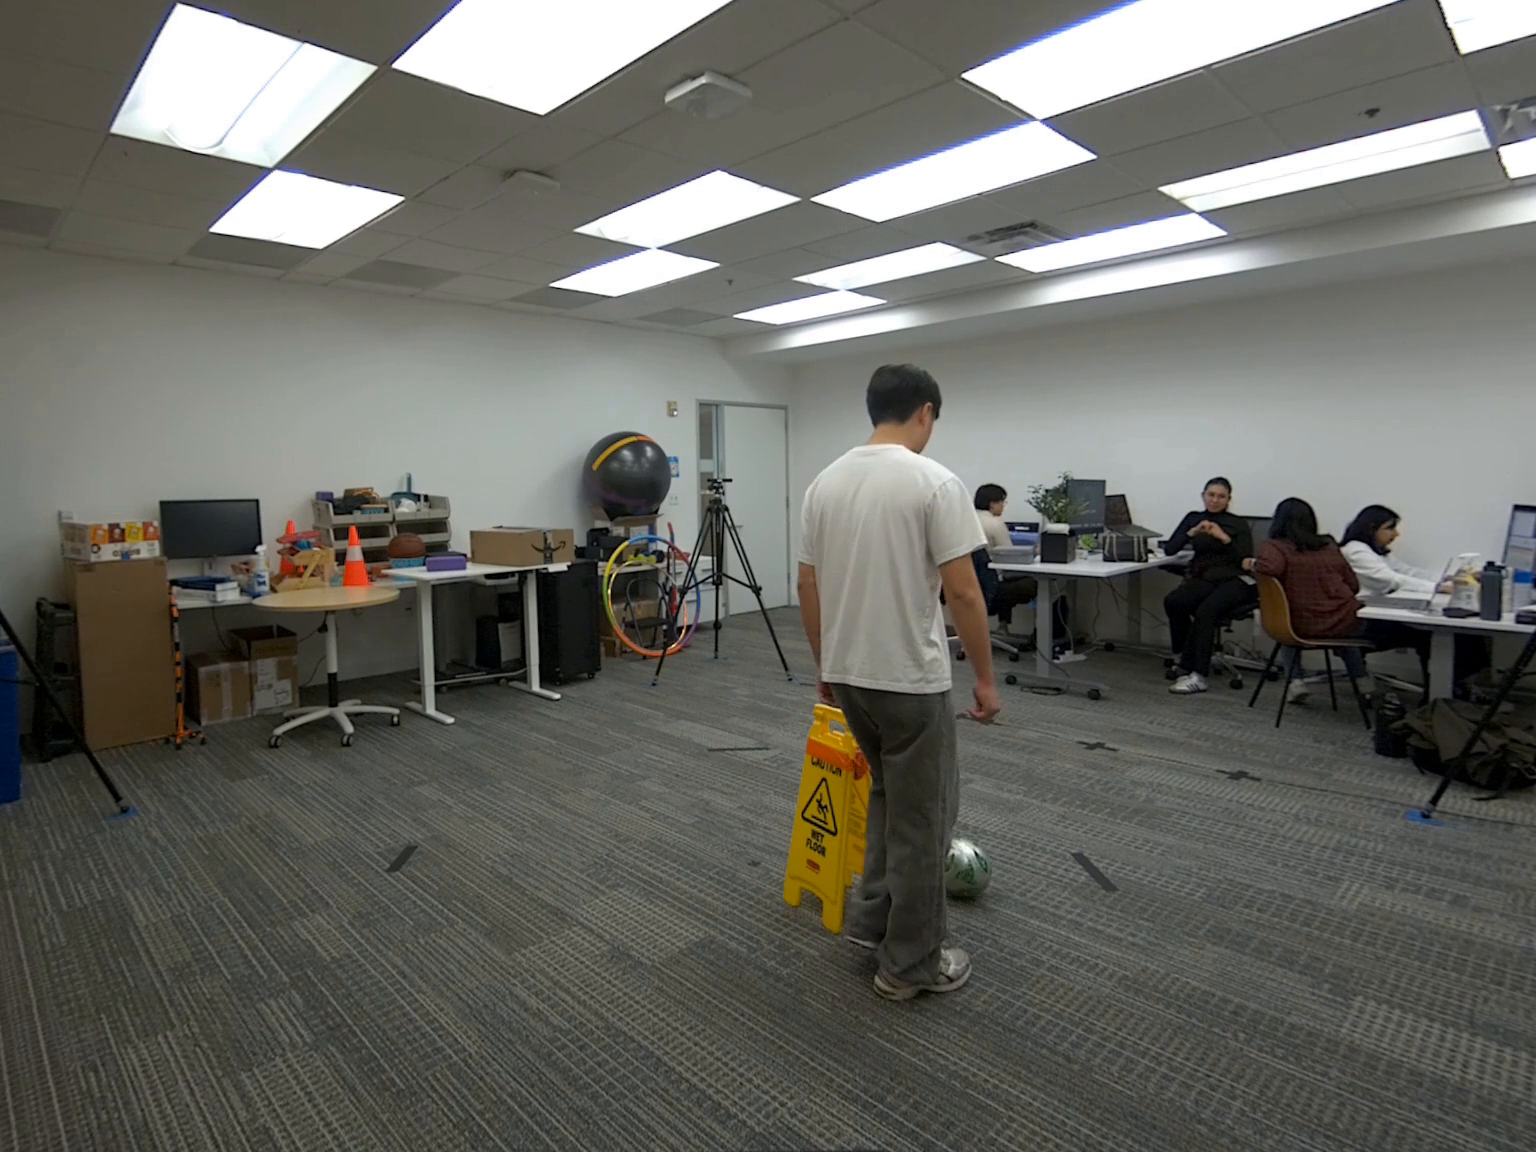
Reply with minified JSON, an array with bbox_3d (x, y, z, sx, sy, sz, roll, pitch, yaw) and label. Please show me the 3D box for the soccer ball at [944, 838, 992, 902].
[{"bbox_3d":[0.643,0.967,2.837,0.187,0.187,0.188,-1,5,-2],"label":"soccer ball"}]
